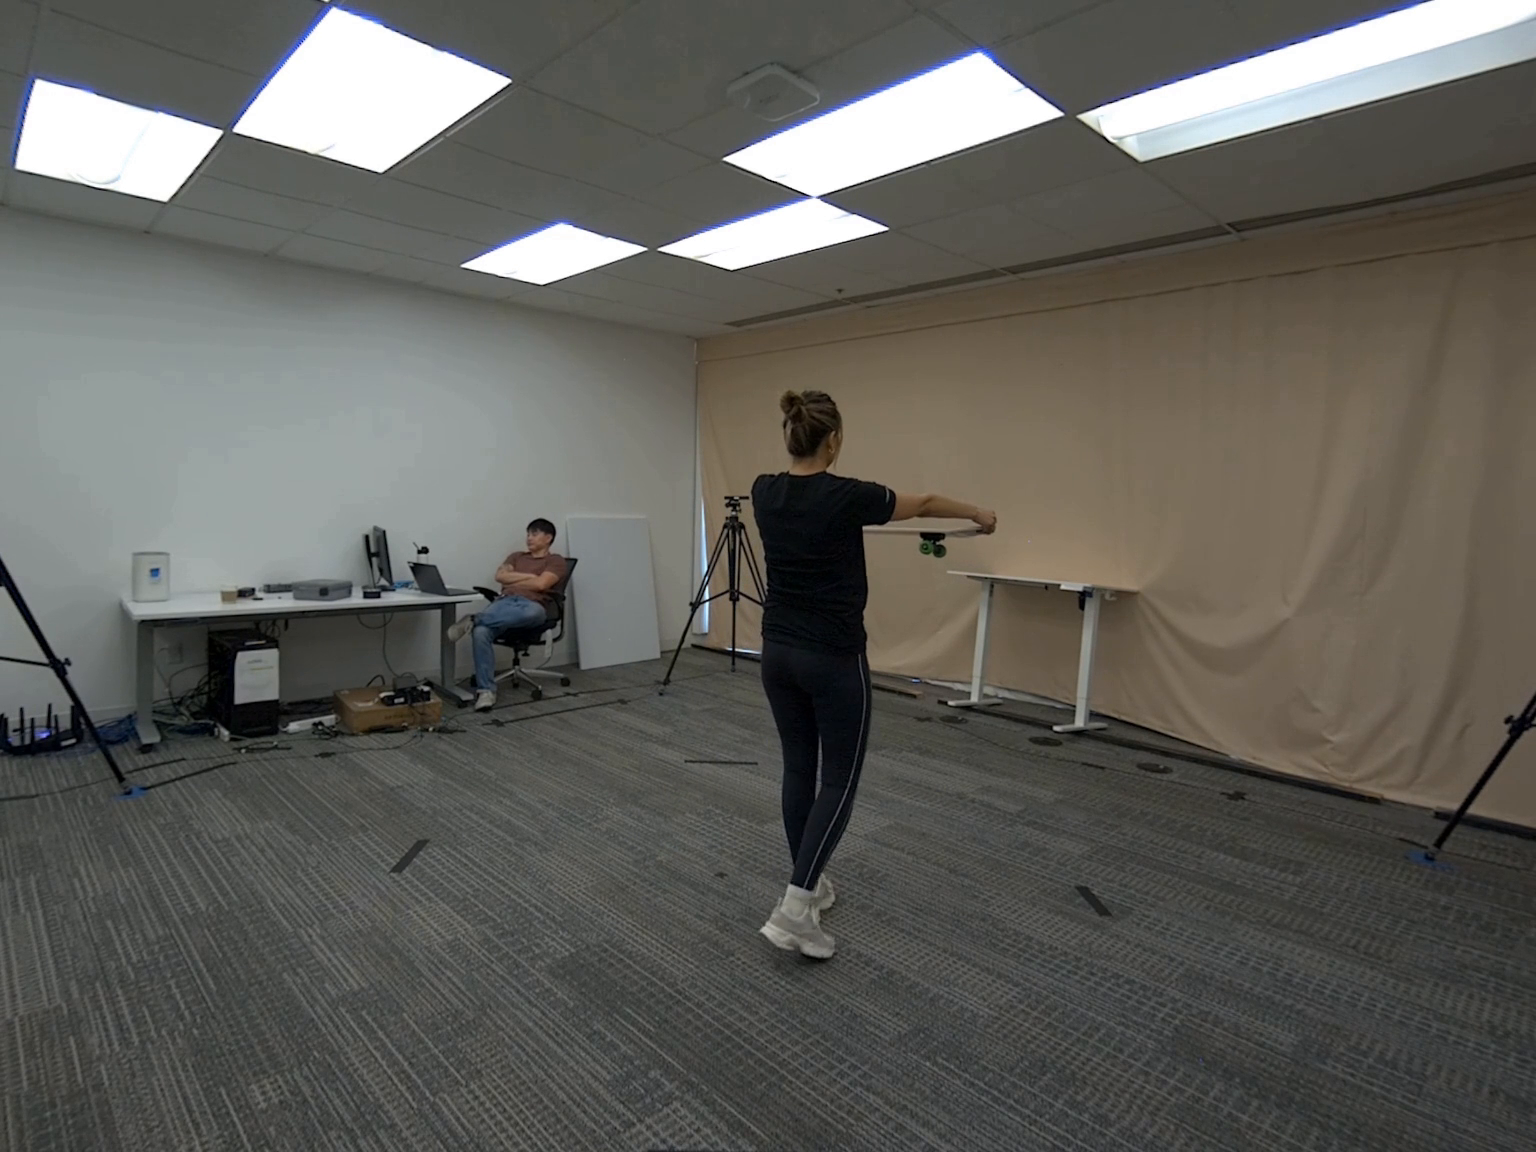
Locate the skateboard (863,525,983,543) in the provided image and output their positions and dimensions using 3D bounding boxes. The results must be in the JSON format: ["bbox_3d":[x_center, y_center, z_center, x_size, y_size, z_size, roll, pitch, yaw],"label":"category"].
[{"bbox_3d":[0.423,-0.136,3.139,0.802,0.110,0.189,3,-2,29],"label":"skateboard"}]
